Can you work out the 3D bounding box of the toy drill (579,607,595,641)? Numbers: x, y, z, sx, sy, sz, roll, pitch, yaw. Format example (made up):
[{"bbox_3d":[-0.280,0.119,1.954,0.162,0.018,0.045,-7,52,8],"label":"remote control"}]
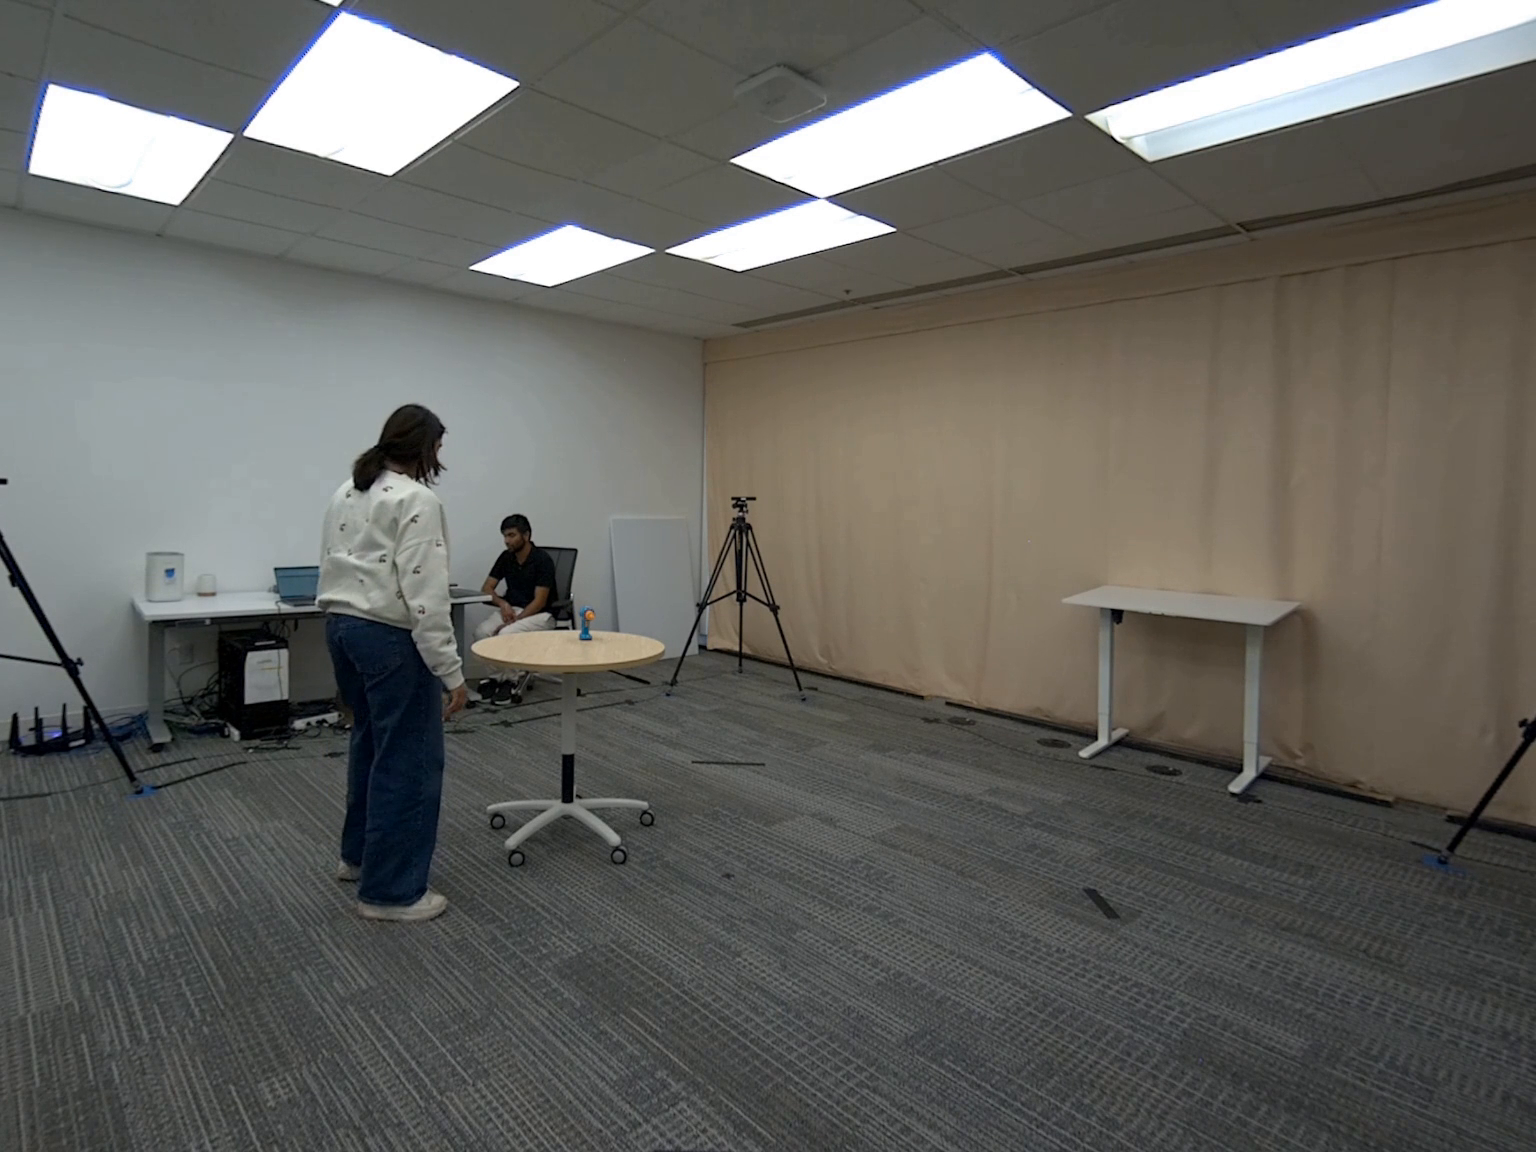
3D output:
[{"bbox_3d":[-0.765,0.200,3.523,0.060,0.146,0.173,4,4,-24],"label":"toy drill"}]
